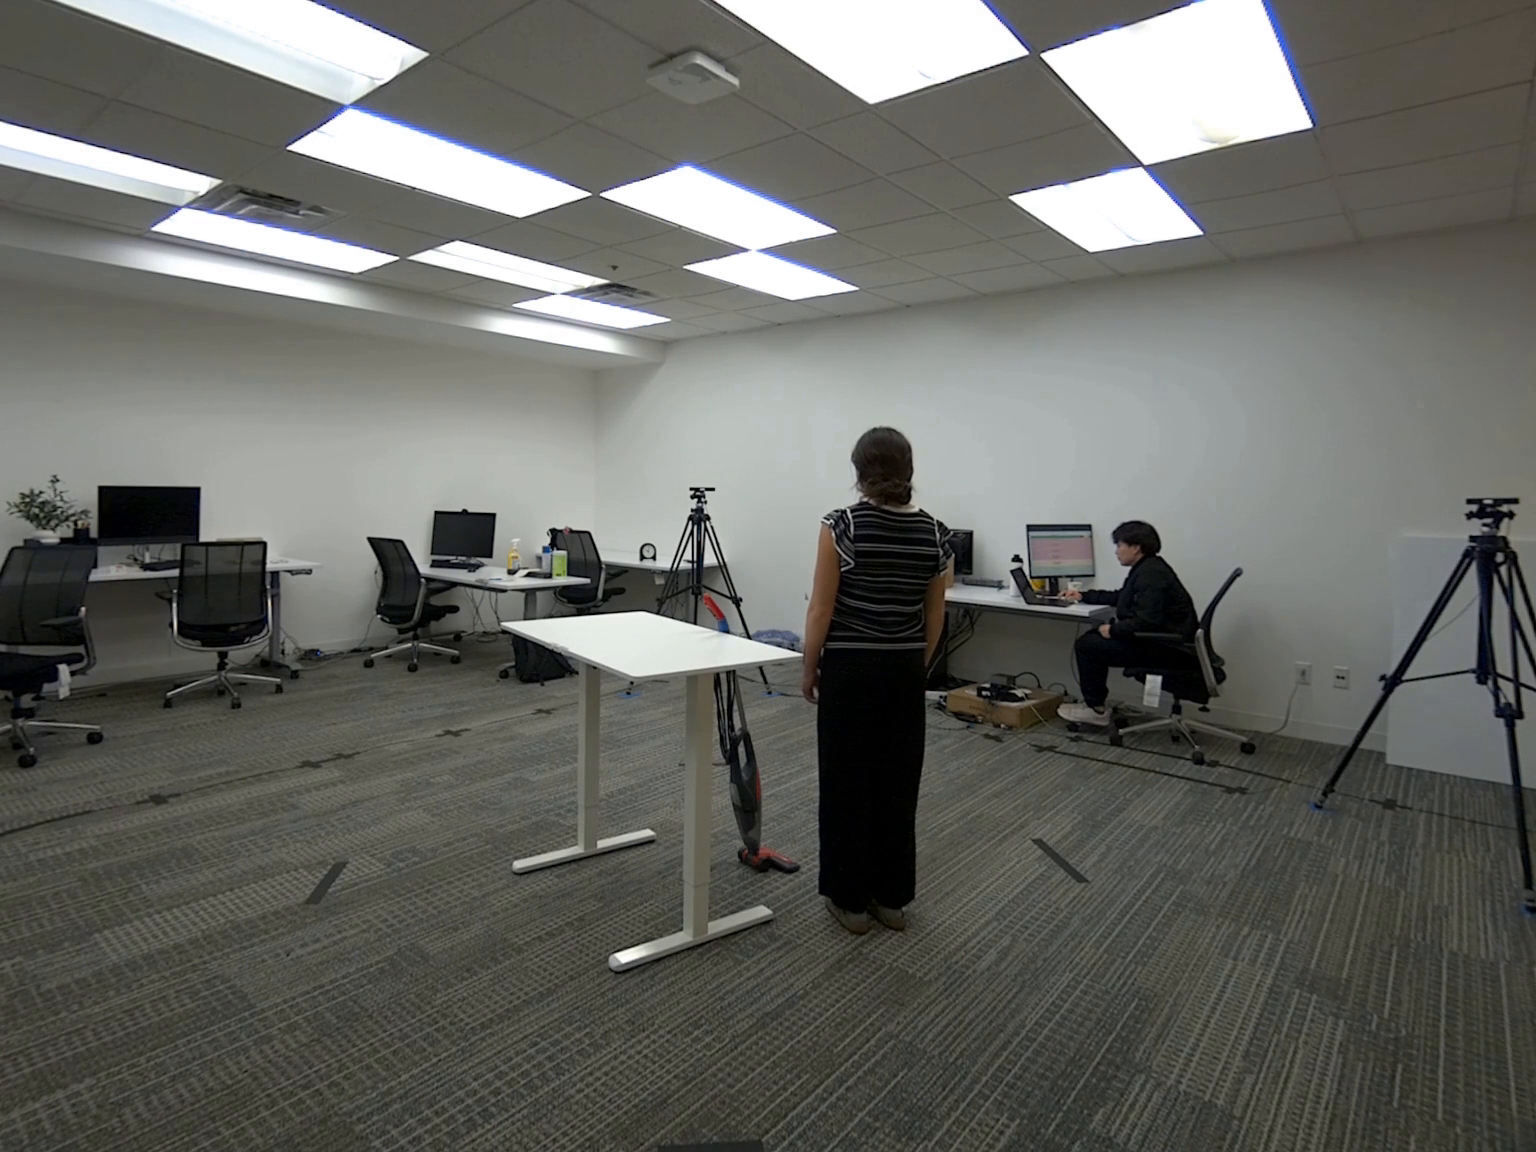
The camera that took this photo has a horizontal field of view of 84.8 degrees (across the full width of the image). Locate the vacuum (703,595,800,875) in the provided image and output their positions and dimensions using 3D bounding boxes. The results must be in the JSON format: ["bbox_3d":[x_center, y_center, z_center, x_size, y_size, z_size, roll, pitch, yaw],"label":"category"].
[{"bbox_3d":[-0.121,0.572,3.058,0.141,1.035,0.261,-21,15,-37],"label":"vacuum"}]
